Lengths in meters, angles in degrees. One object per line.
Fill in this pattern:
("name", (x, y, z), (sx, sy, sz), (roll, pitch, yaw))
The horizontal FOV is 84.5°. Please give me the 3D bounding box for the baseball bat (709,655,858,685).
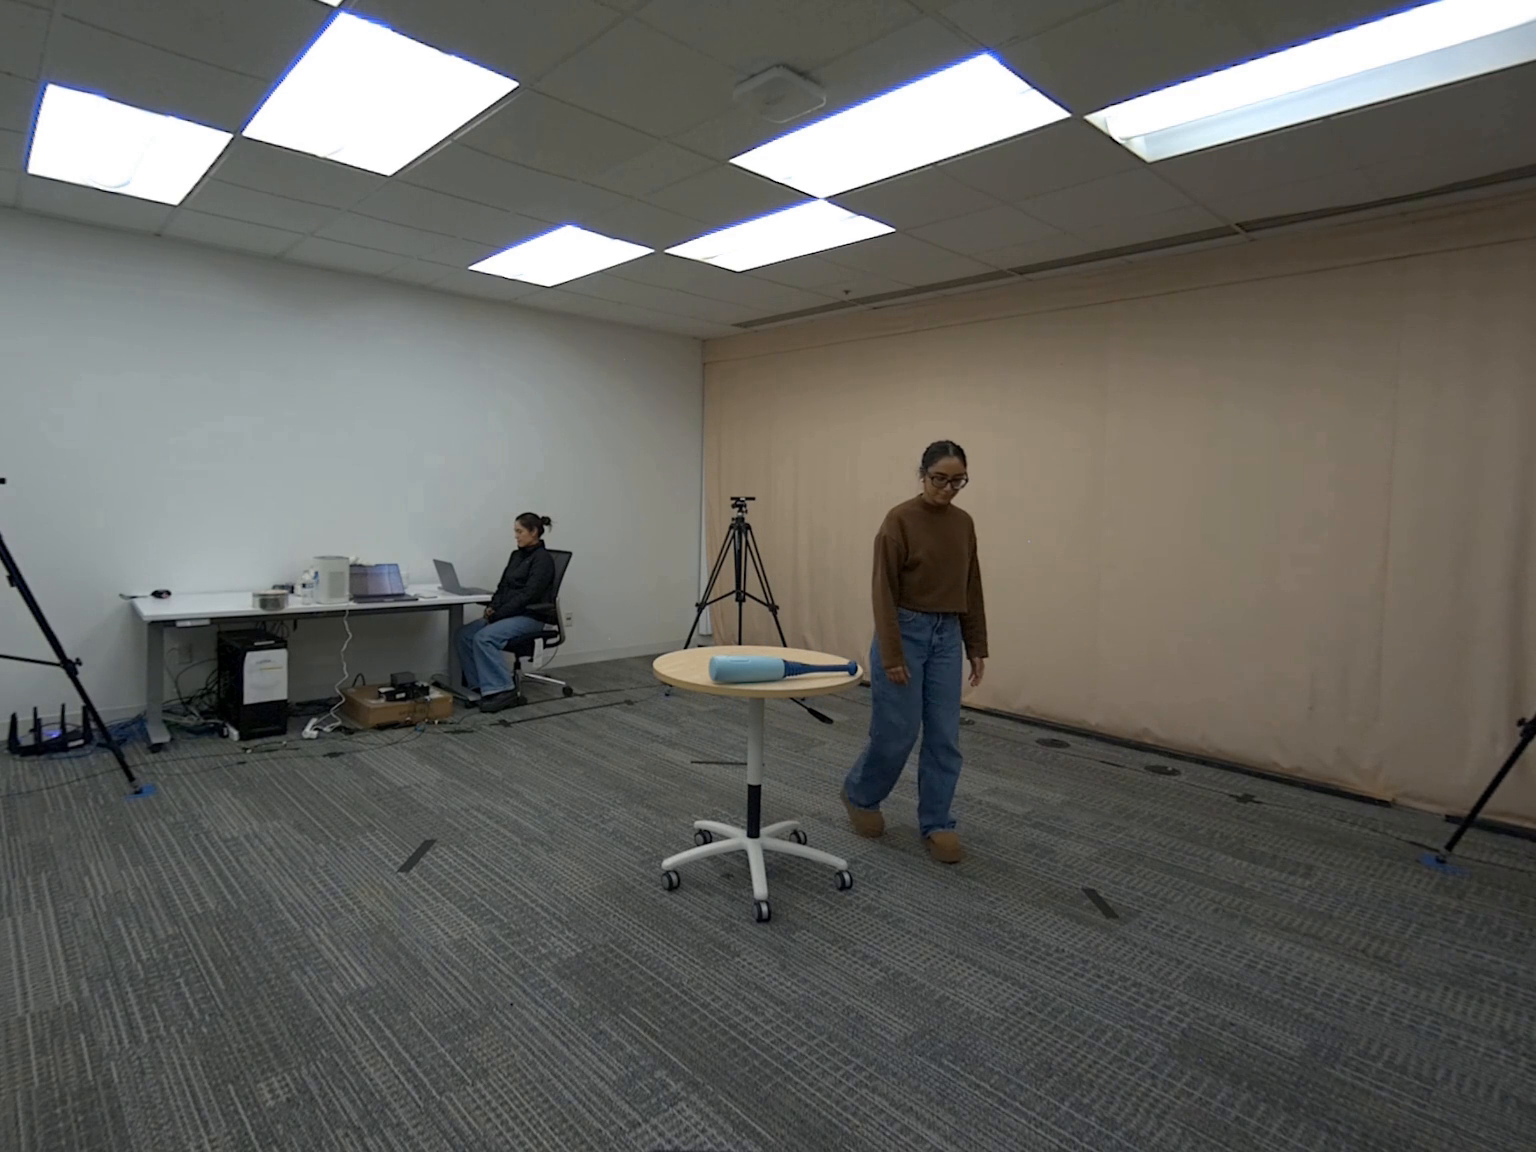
("baseball bat", (0.063, 0.321, 2.850), (0.534, 0.089, 0.090), (3, 3, -20))
